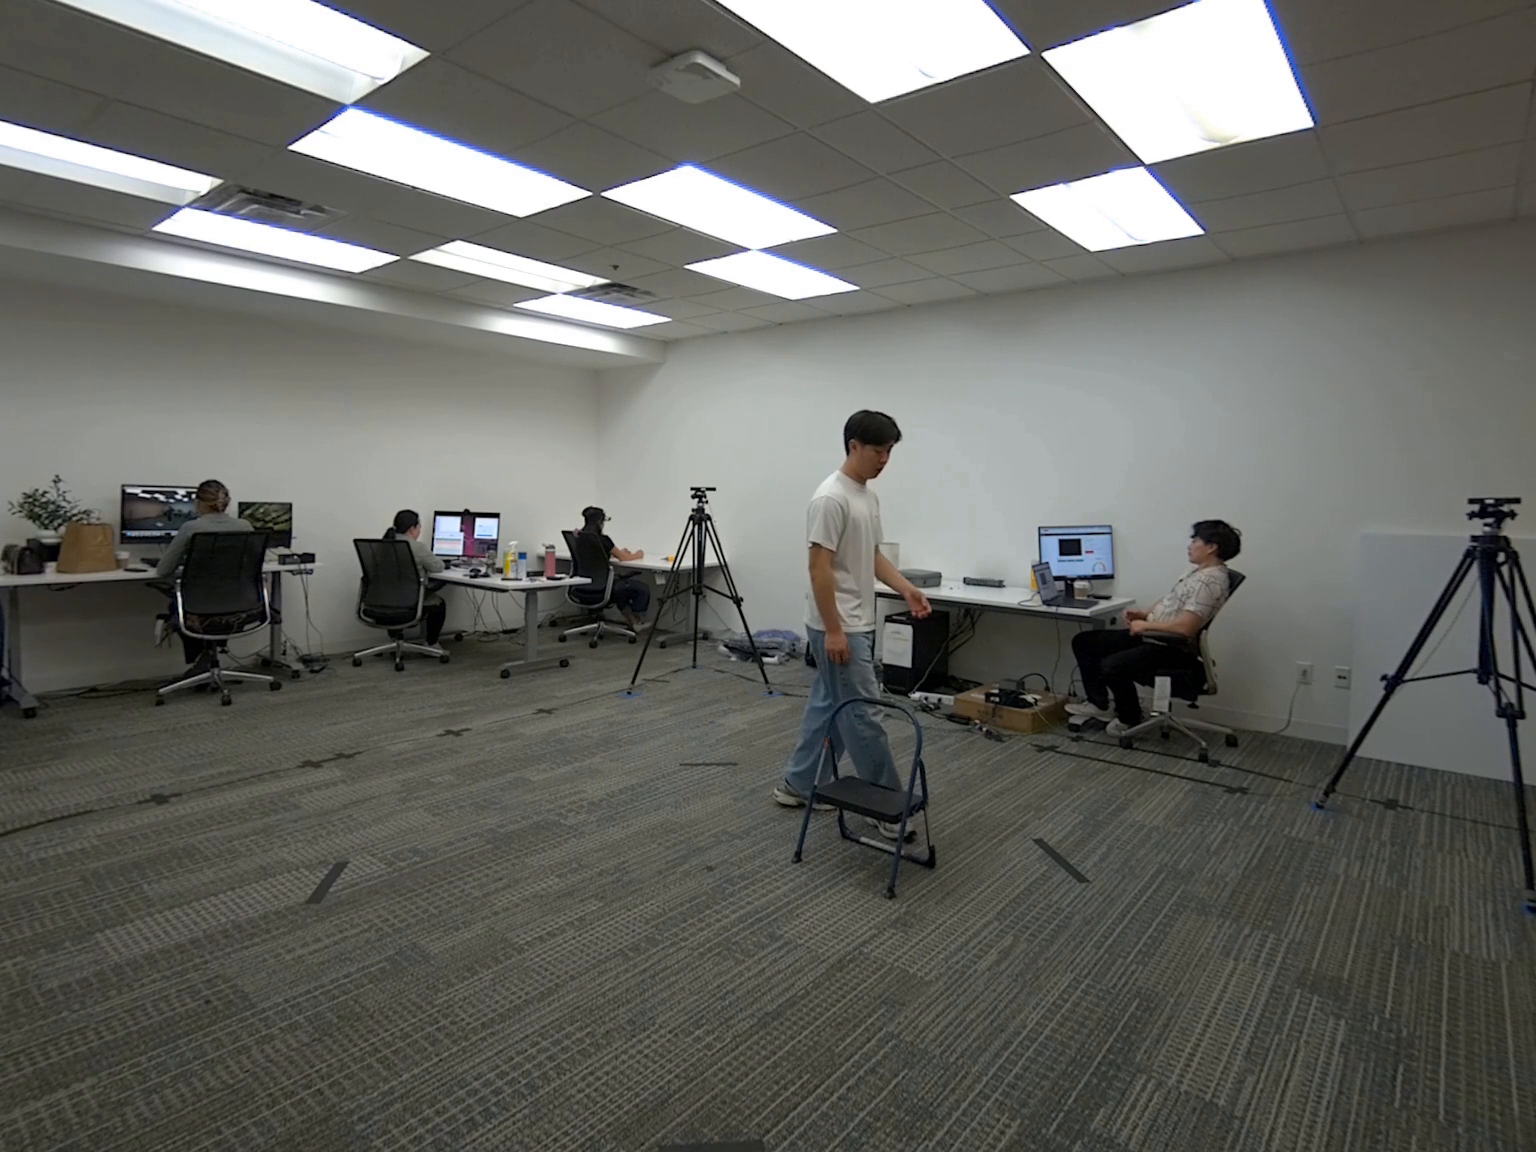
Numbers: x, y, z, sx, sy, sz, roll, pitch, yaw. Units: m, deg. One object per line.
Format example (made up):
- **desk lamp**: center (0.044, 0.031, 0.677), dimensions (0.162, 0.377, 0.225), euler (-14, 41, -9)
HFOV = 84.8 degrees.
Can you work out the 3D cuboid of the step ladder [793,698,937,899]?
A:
- **step ladder**: center (0.358, 0.768, 3.156), dimensions (0.445, 0.604, 0.339), euler (4, 5, 40)
